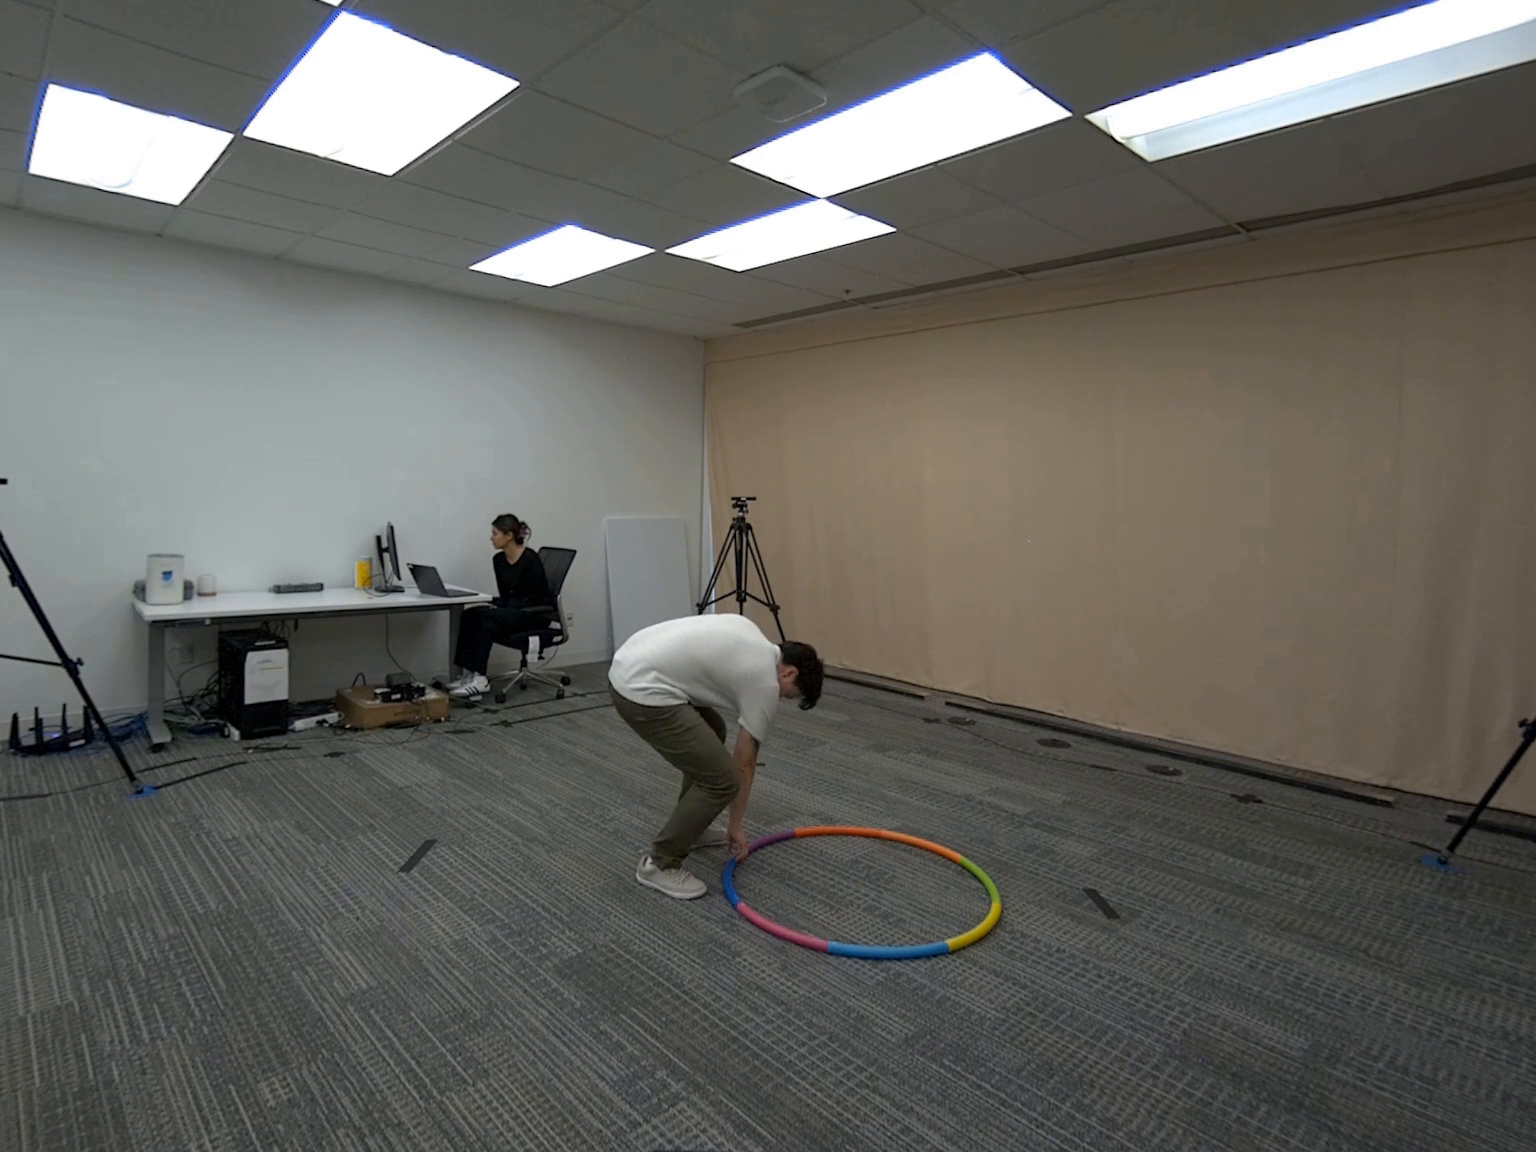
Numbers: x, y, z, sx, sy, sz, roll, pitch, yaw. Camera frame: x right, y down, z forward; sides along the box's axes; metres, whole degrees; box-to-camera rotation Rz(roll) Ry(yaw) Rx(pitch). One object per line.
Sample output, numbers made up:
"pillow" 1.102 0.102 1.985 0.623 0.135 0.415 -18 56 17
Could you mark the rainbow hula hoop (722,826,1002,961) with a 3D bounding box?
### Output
"rainbow hula hoop" 0.319 1.092 3.046 0.978 0.035 0.982 1 5 -1
